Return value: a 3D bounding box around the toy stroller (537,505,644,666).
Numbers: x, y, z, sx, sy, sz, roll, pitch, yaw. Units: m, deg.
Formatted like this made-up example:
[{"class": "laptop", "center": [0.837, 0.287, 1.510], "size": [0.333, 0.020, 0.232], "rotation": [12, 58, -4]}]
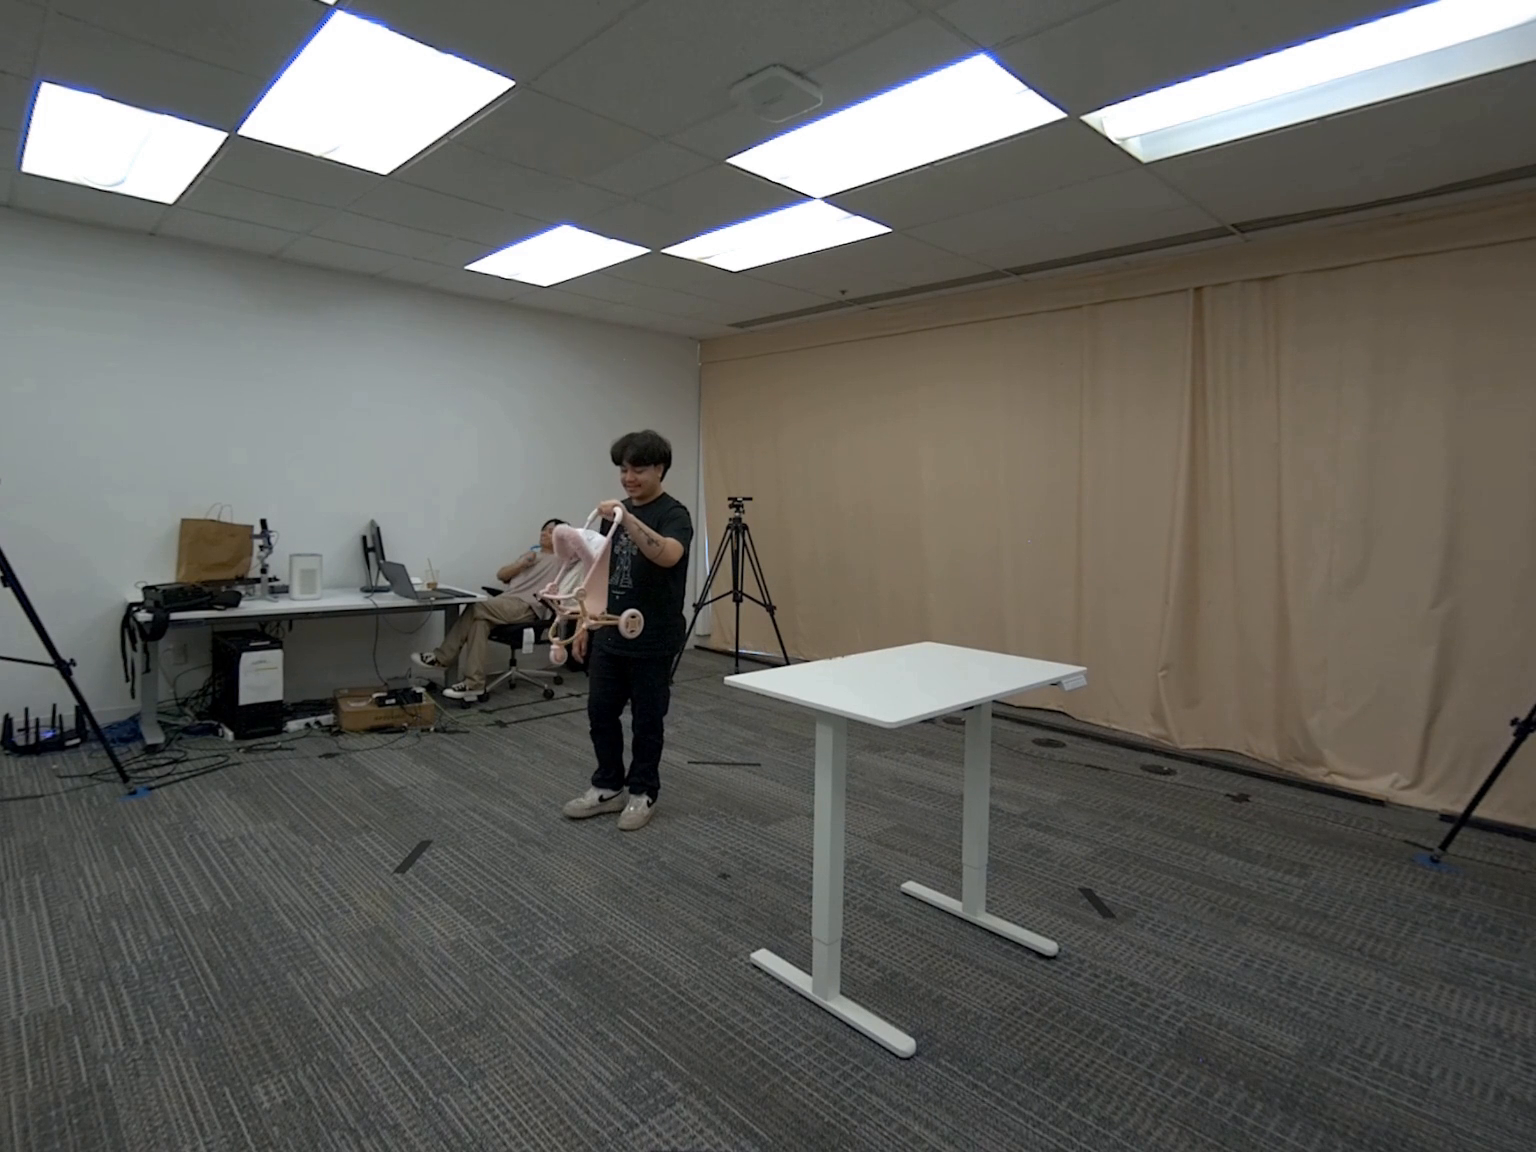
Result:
[{"class": "toy stroller", "center": [-0.695, 0.038, 3.105], "size": [0.335, 0.530, 0.289], "rotation": [-14, 14, -37]}]
